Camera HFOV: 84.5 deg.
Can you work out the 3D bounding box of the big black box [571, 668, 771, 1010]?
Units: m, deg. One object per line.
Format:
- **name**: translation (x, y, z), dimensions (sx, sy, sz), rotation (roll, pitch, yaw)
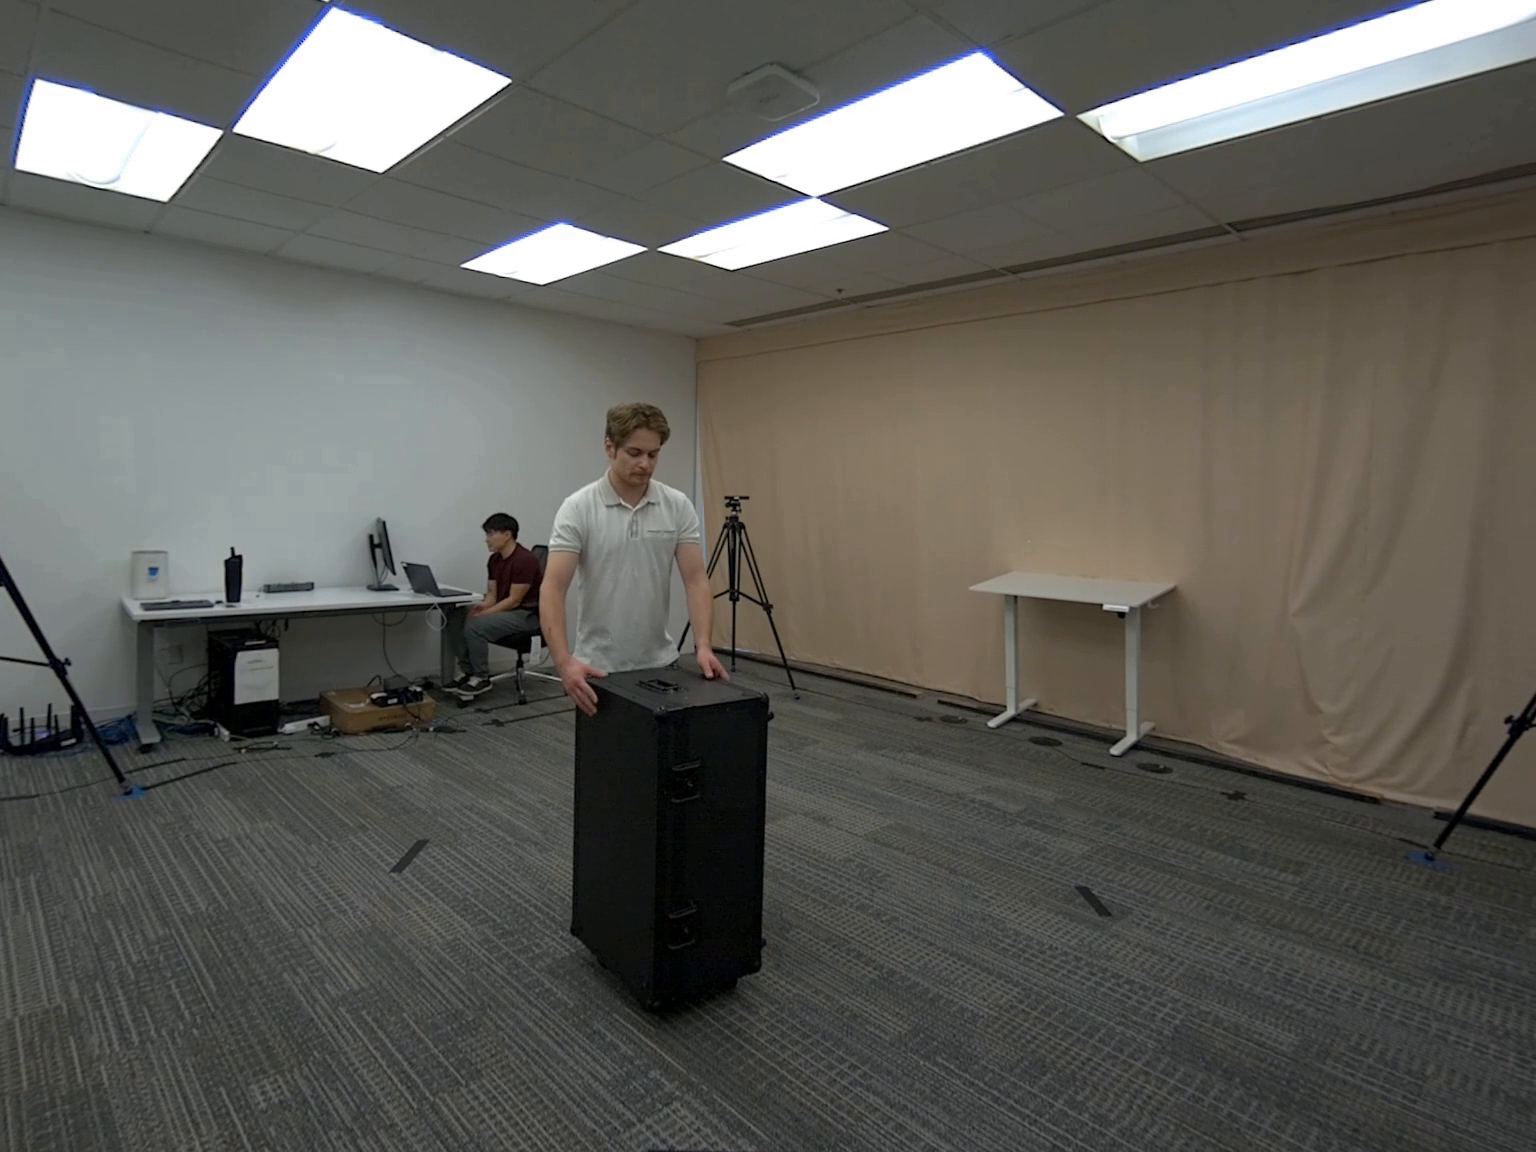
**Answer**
- **big black box**: translation (-0.302, 0.749, 2.426), dimensions (0.376, 0.866, 0.536), rotation (-1, 5, -38)
